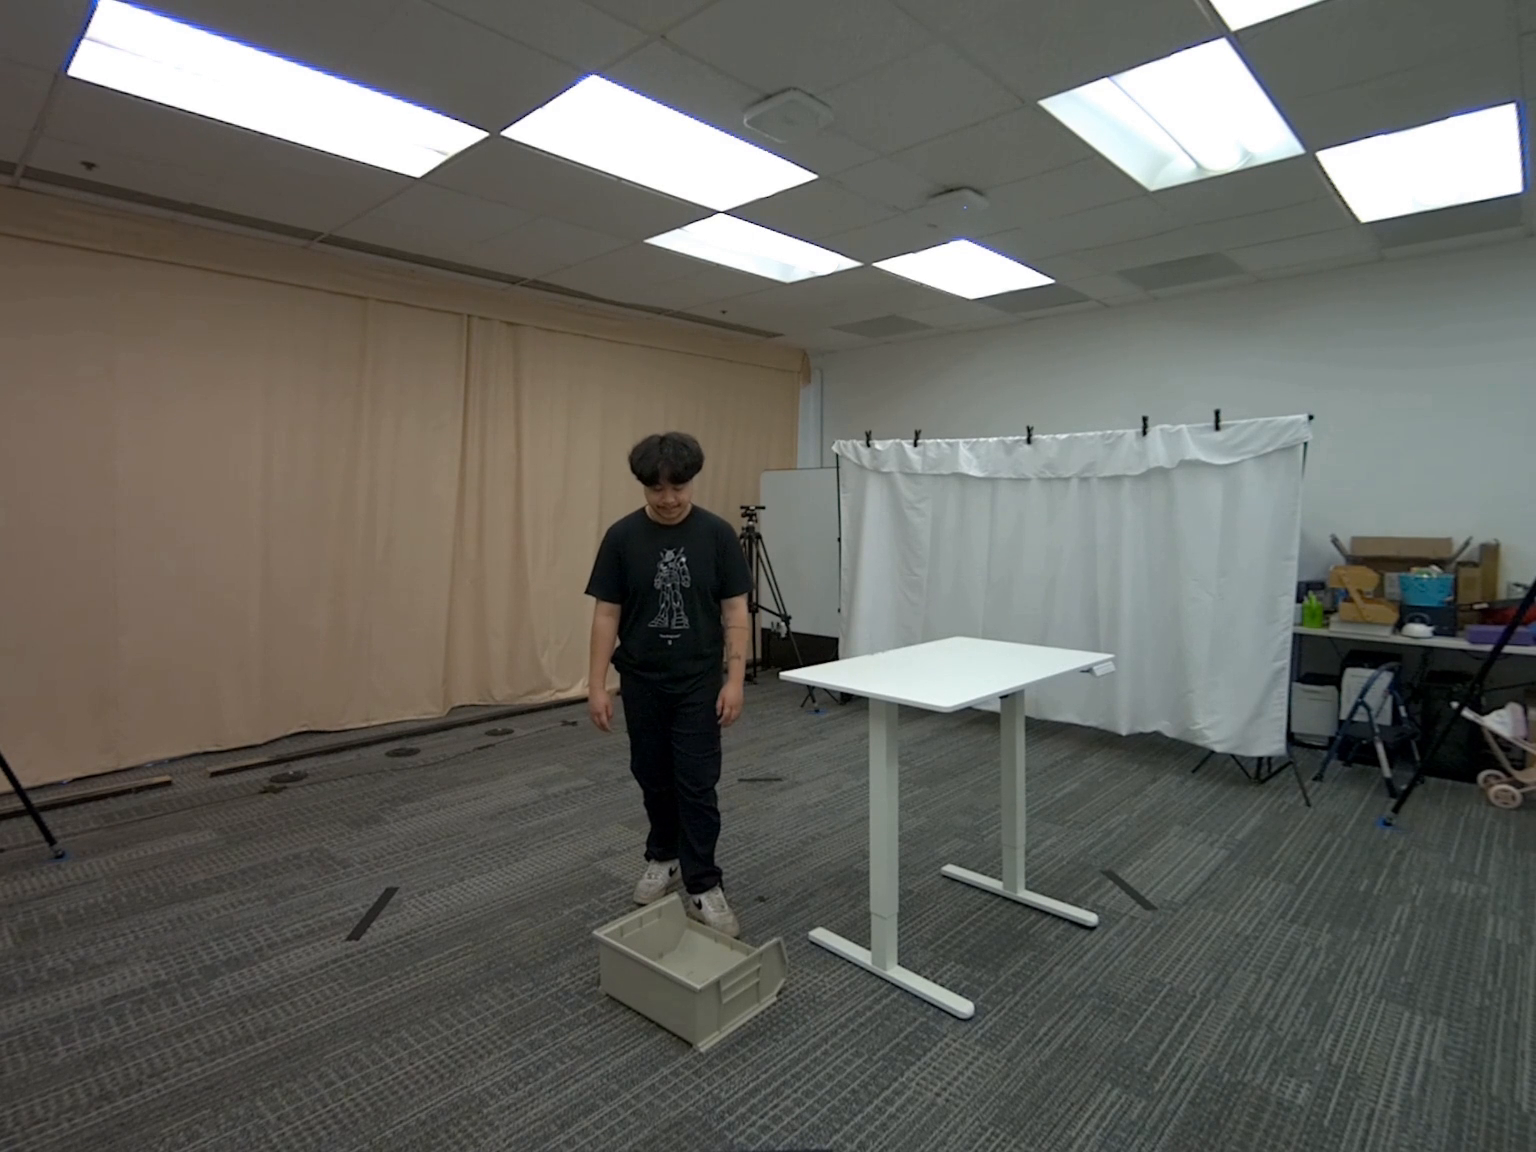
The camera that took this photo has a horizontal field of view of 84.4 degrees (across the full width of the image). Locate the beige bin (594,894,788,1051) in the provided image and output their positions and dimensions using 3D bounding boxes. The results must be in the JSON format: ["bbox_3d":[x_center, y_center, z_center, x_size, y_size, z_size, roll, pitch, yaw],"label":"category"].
[{"bbox_3d":[-0.219,1.107,2.402,0.436,0.188,0.366,5,7,41],"label":"beige bin"}]
